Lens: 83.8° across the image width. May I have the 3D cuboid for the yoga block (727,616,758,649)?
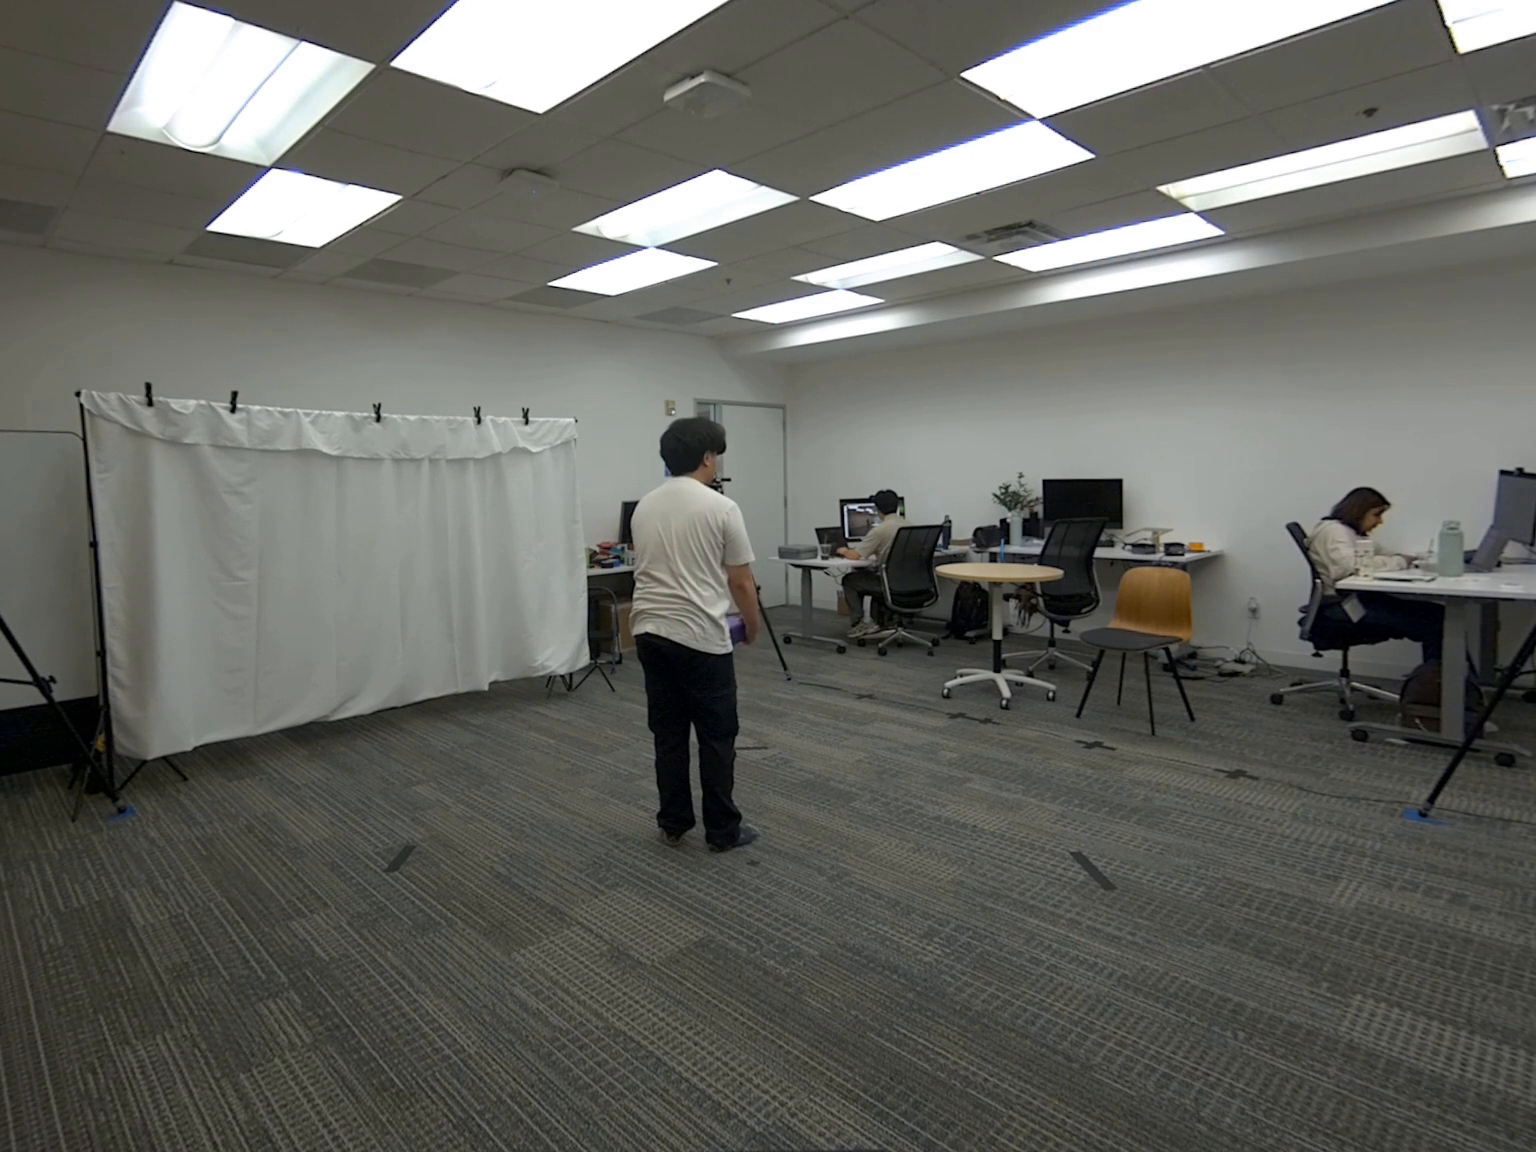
[{"bbox_3d":[-0.187,0.246,3.521,0.226,0.075,0.153,-18,14,-20],"label":"yoga block"}]
